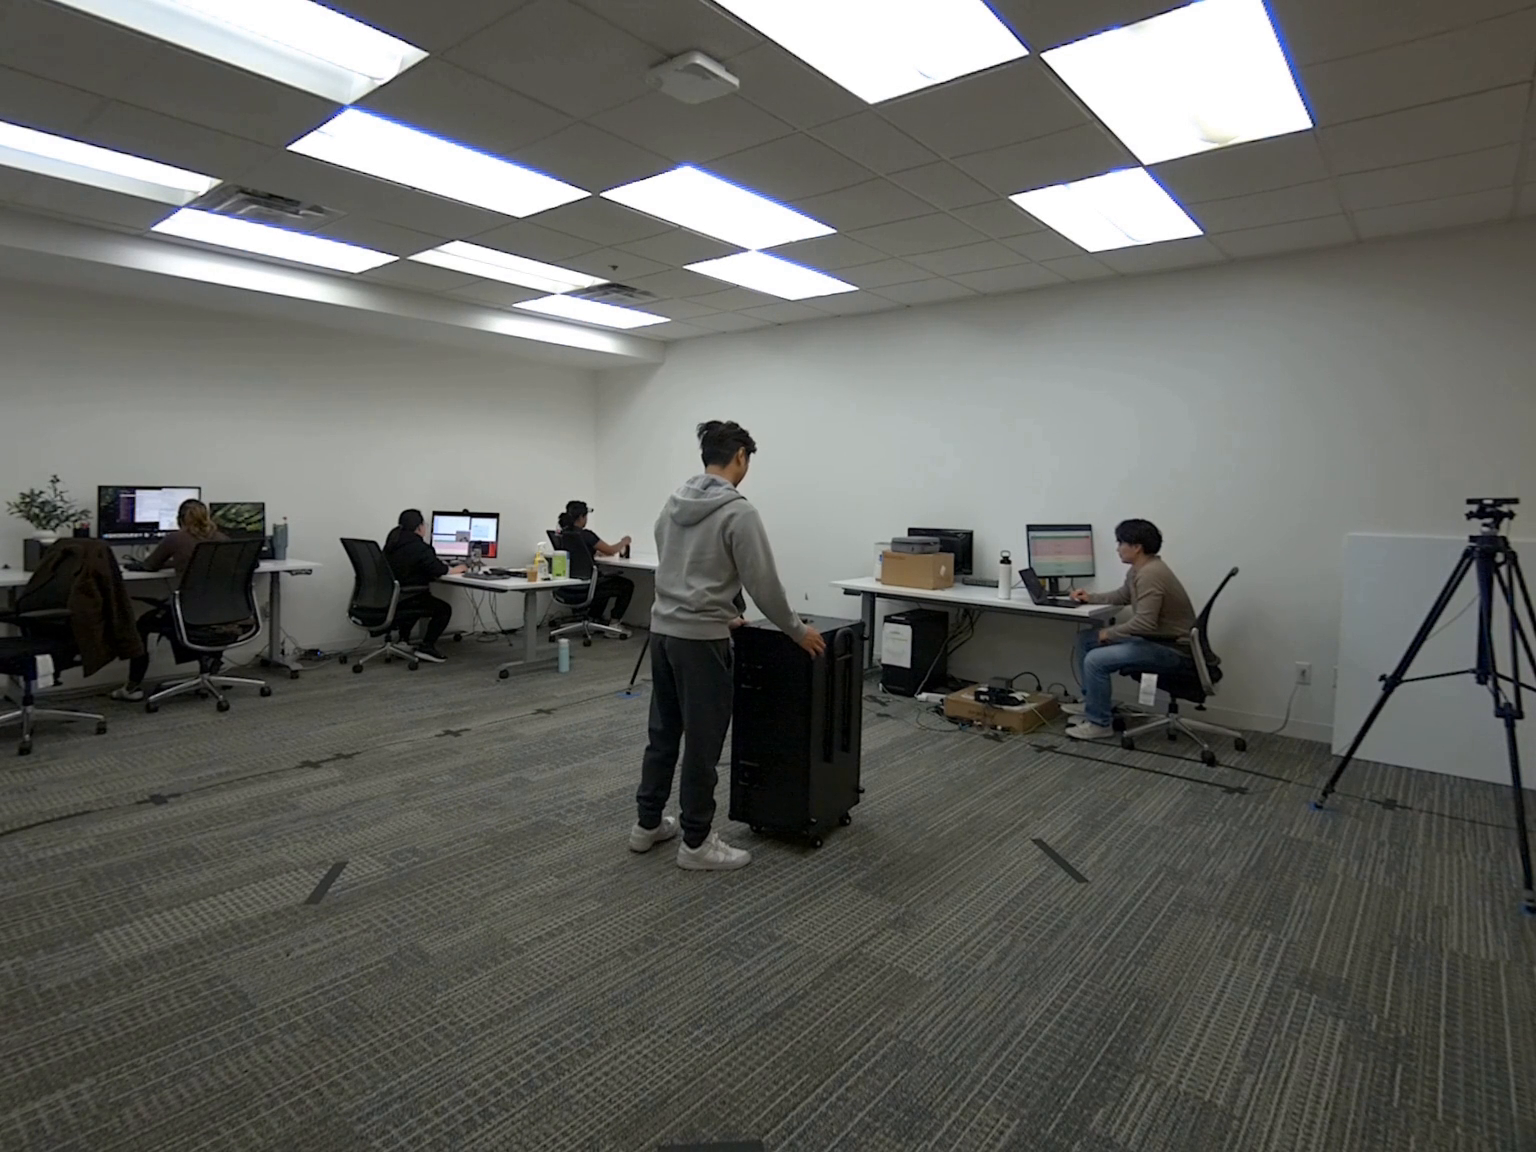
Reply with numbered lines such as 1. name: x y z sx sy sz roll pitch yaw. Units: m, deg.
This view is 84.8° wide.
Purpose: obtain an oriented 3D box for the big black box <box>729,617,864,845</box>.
1. big black box: 0.134 0.614 3.492 0.408 0.858 0.507 4 5 31
